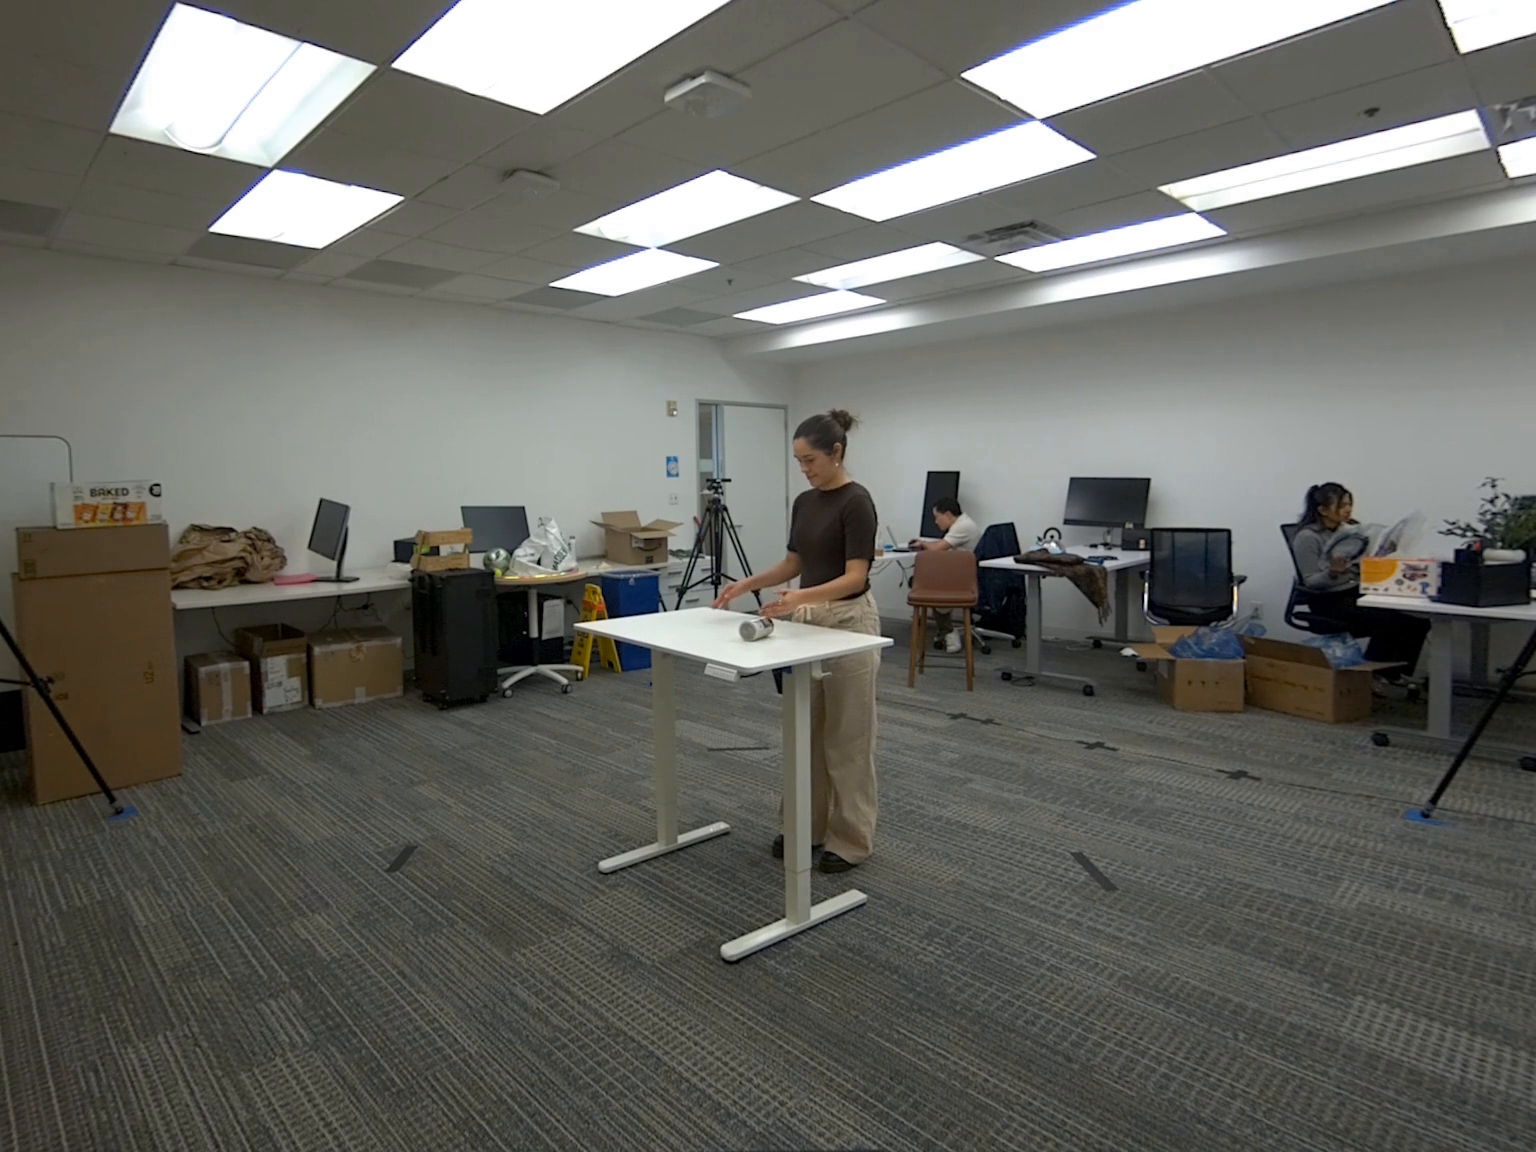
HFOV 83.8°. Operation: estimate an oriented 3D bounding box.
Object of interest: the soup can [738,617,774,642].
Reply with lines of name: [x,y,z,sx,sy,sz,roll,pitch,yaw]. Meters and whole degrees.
soup can: [-0.032,0.170,2.735,0.069,0.067,0.119,2,4,27]
